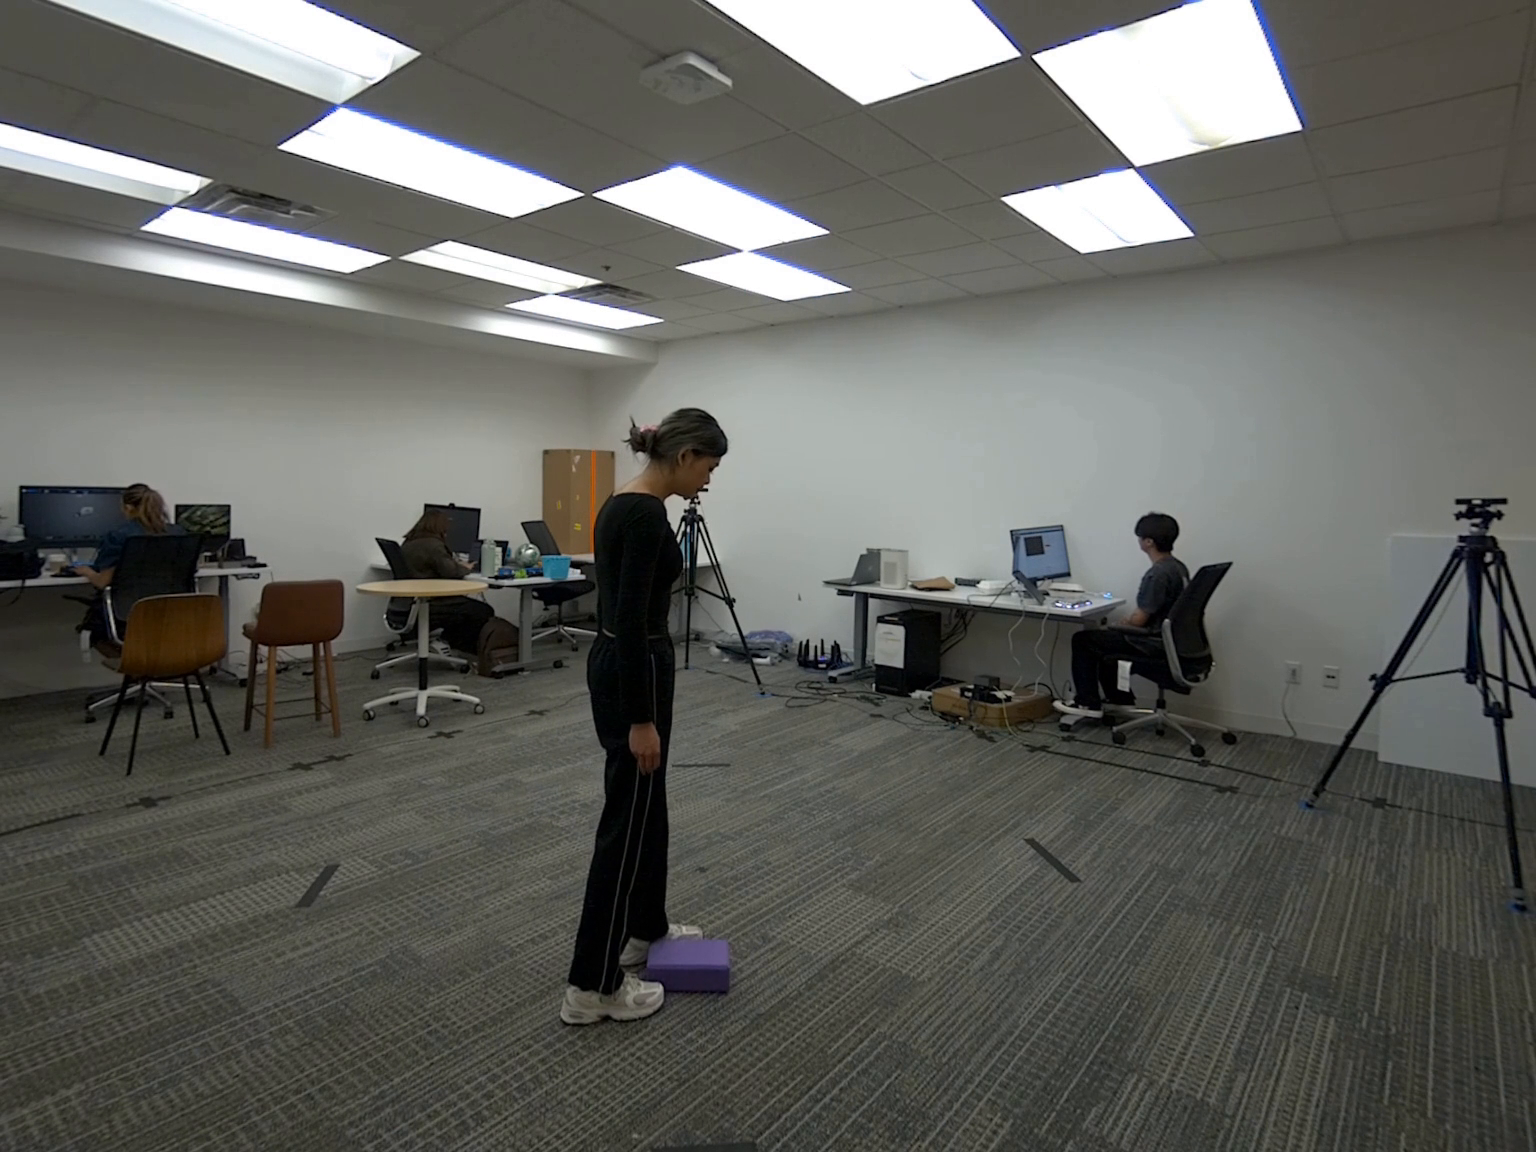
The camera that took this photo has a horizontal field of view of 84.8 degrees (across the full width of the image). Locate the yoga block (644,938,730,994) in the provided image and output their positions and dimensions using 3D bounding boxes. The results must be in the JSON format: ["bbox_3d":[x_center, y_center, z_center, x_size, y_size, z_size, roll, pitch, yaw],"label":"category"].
[{"bbox_3d":[-0.230,1.103,2.406,0.229,0.076,0.150,1,5,-2],"label":"yoga block"}]
